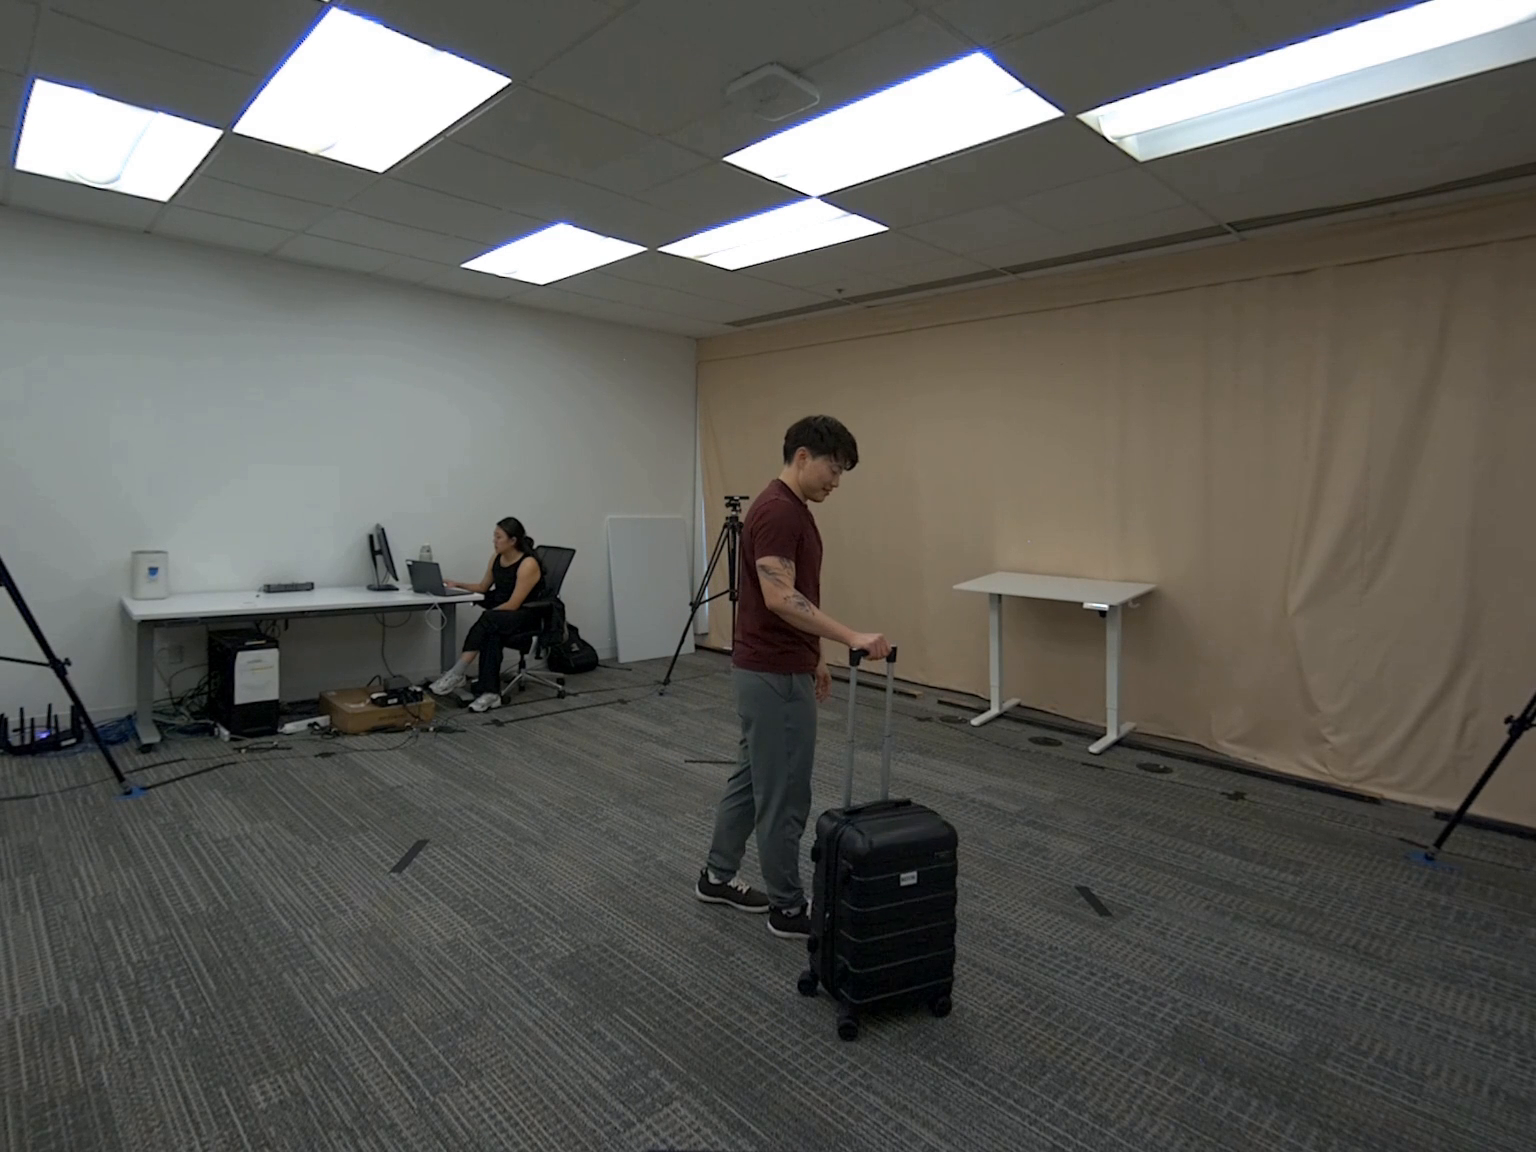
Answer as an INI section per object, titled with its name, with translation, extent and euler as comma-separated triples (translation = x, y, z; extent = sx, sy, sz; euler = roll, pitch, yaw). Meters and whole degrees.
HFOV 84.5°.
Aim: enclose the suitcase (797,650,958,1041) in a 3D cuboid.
[suitcase]
translation = 0.323, 0.712, 2.306
extent = 0.378, 0.976, 0.262
euler = 1, 4, -21
